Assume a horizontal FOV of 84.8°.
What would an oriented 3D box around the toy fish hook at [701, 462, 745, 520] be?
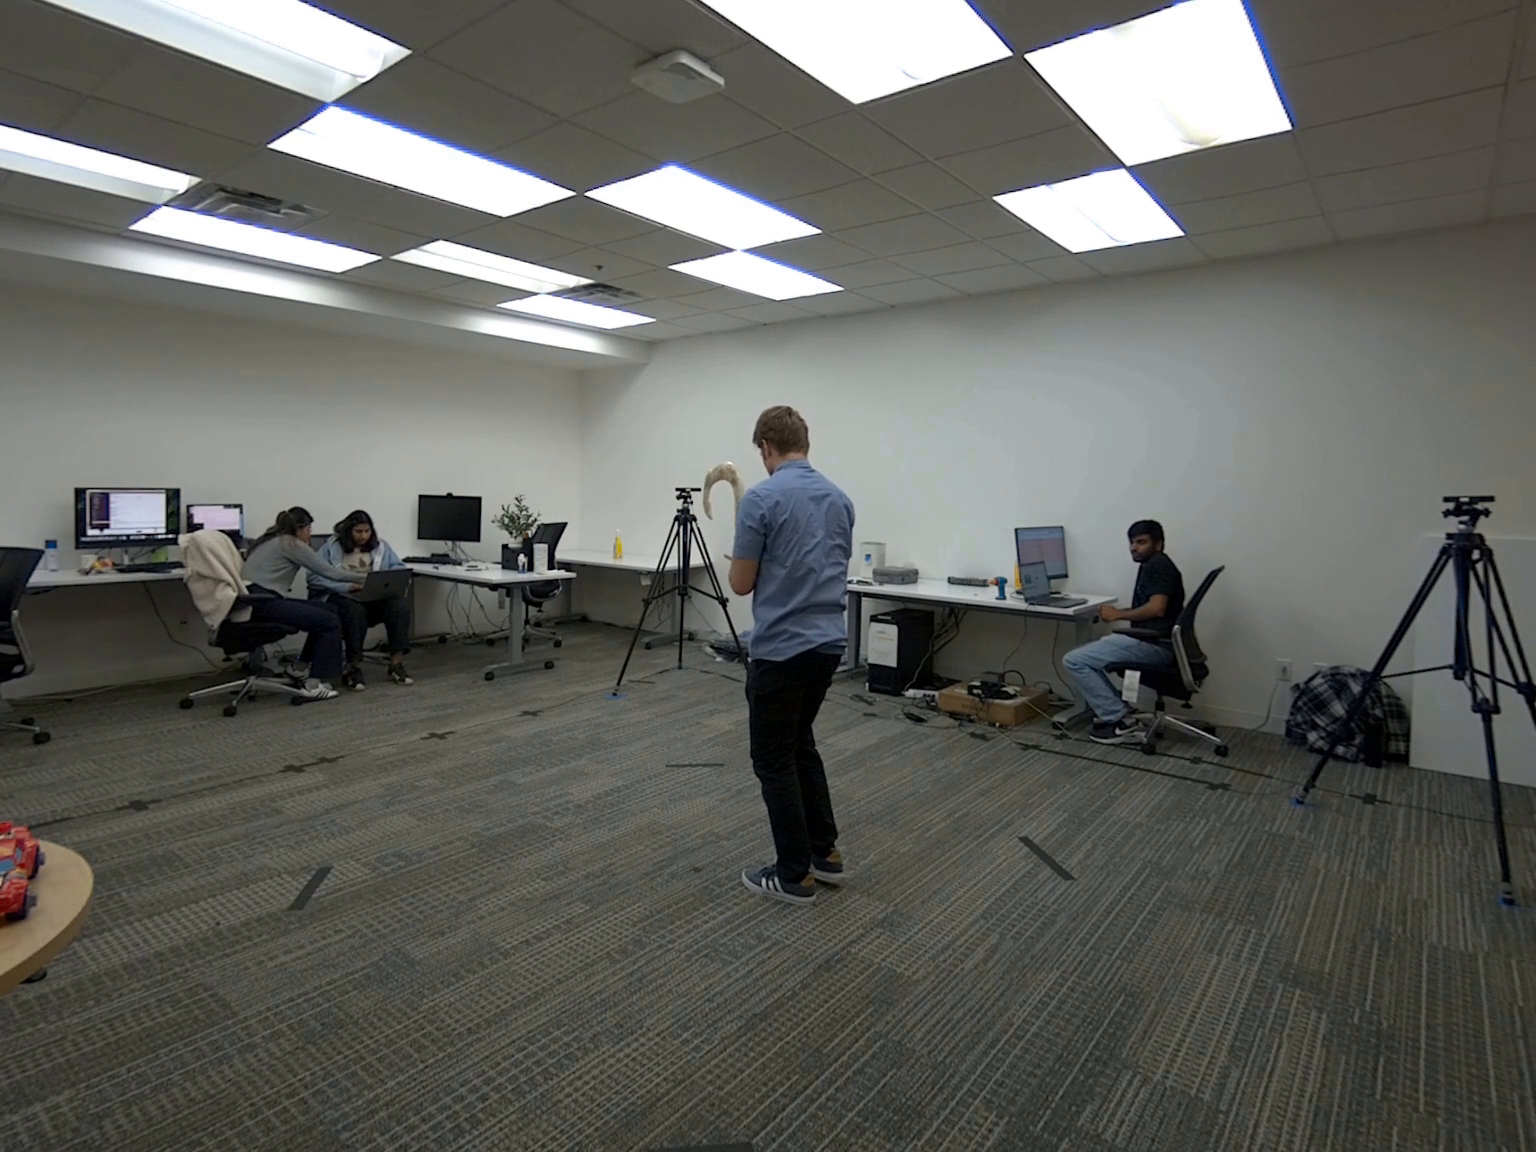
[{"bbox_3d":[-0.155,-0.196,3.301,0.047,0.516,0.228,5,-22,-43],"label":"toy fish hook"}]
